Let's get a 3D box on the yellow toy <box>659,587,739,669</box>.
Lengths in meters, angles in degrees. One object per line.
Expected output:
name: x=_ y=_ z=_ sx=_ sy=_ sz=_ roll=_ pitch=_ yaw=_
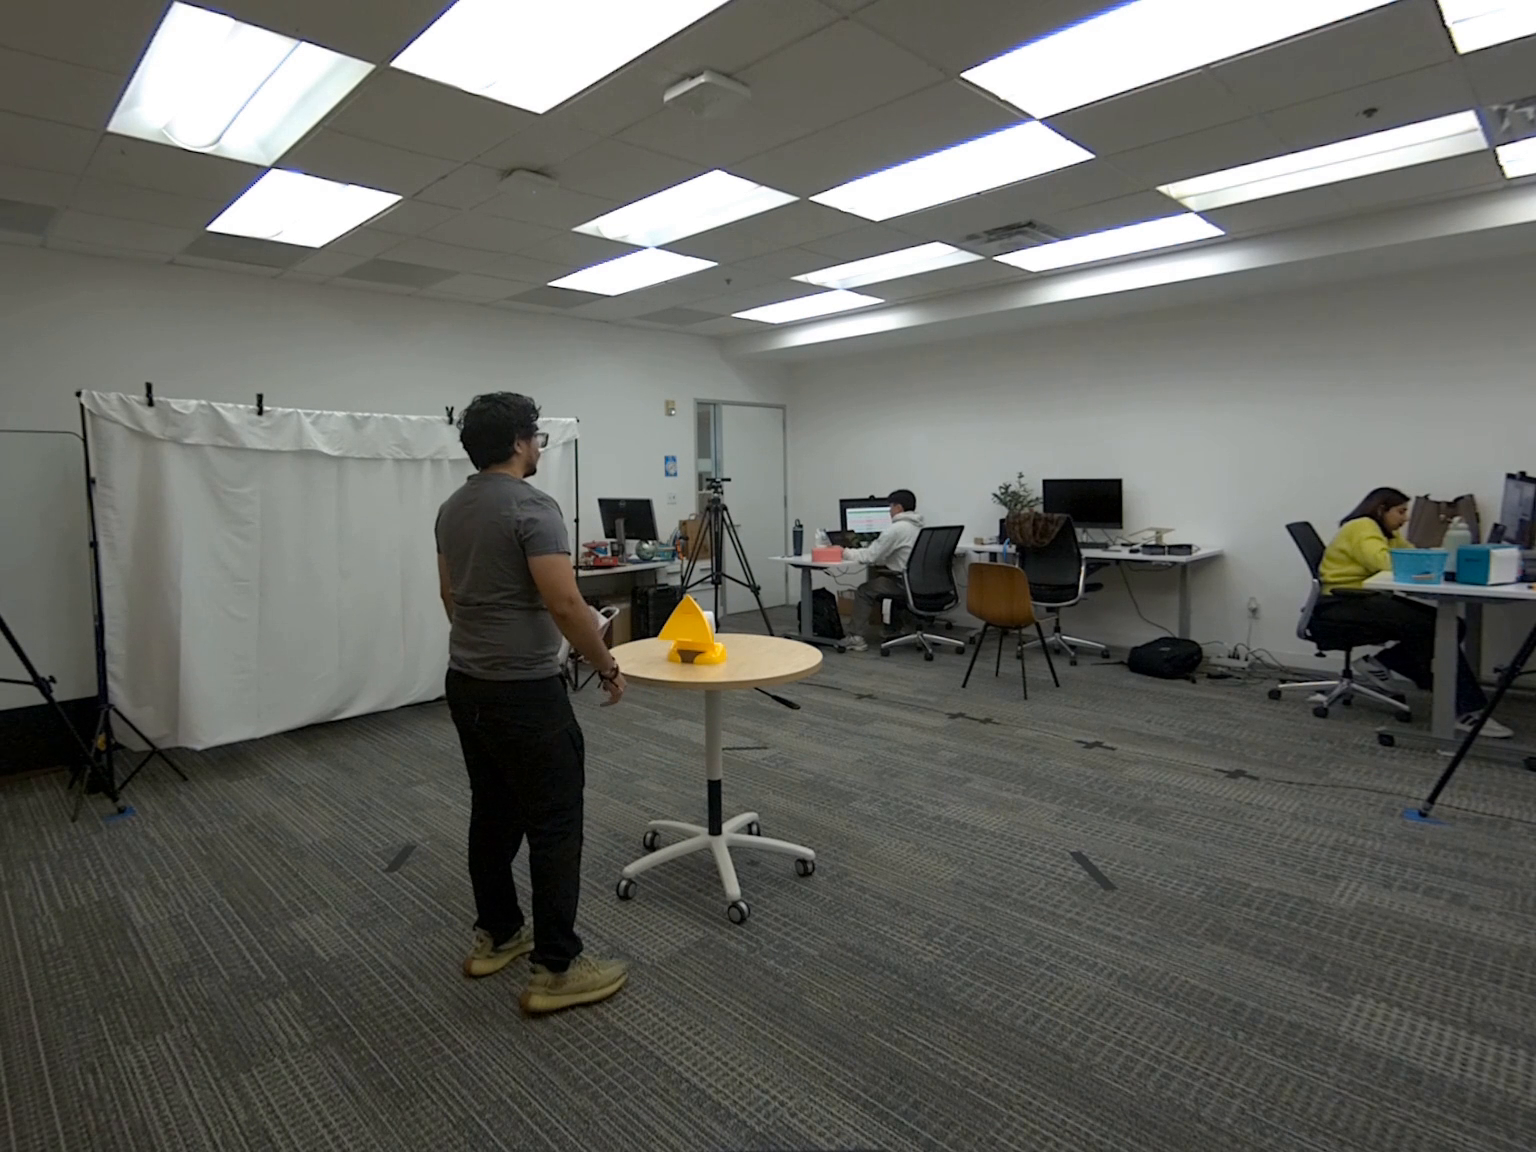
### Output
yellow toy: x=-0.235 y=0.170 z=2.912 sx=0.209 sy=0.229 sz=0.190 roll=2 pitch=6 yaw=22
